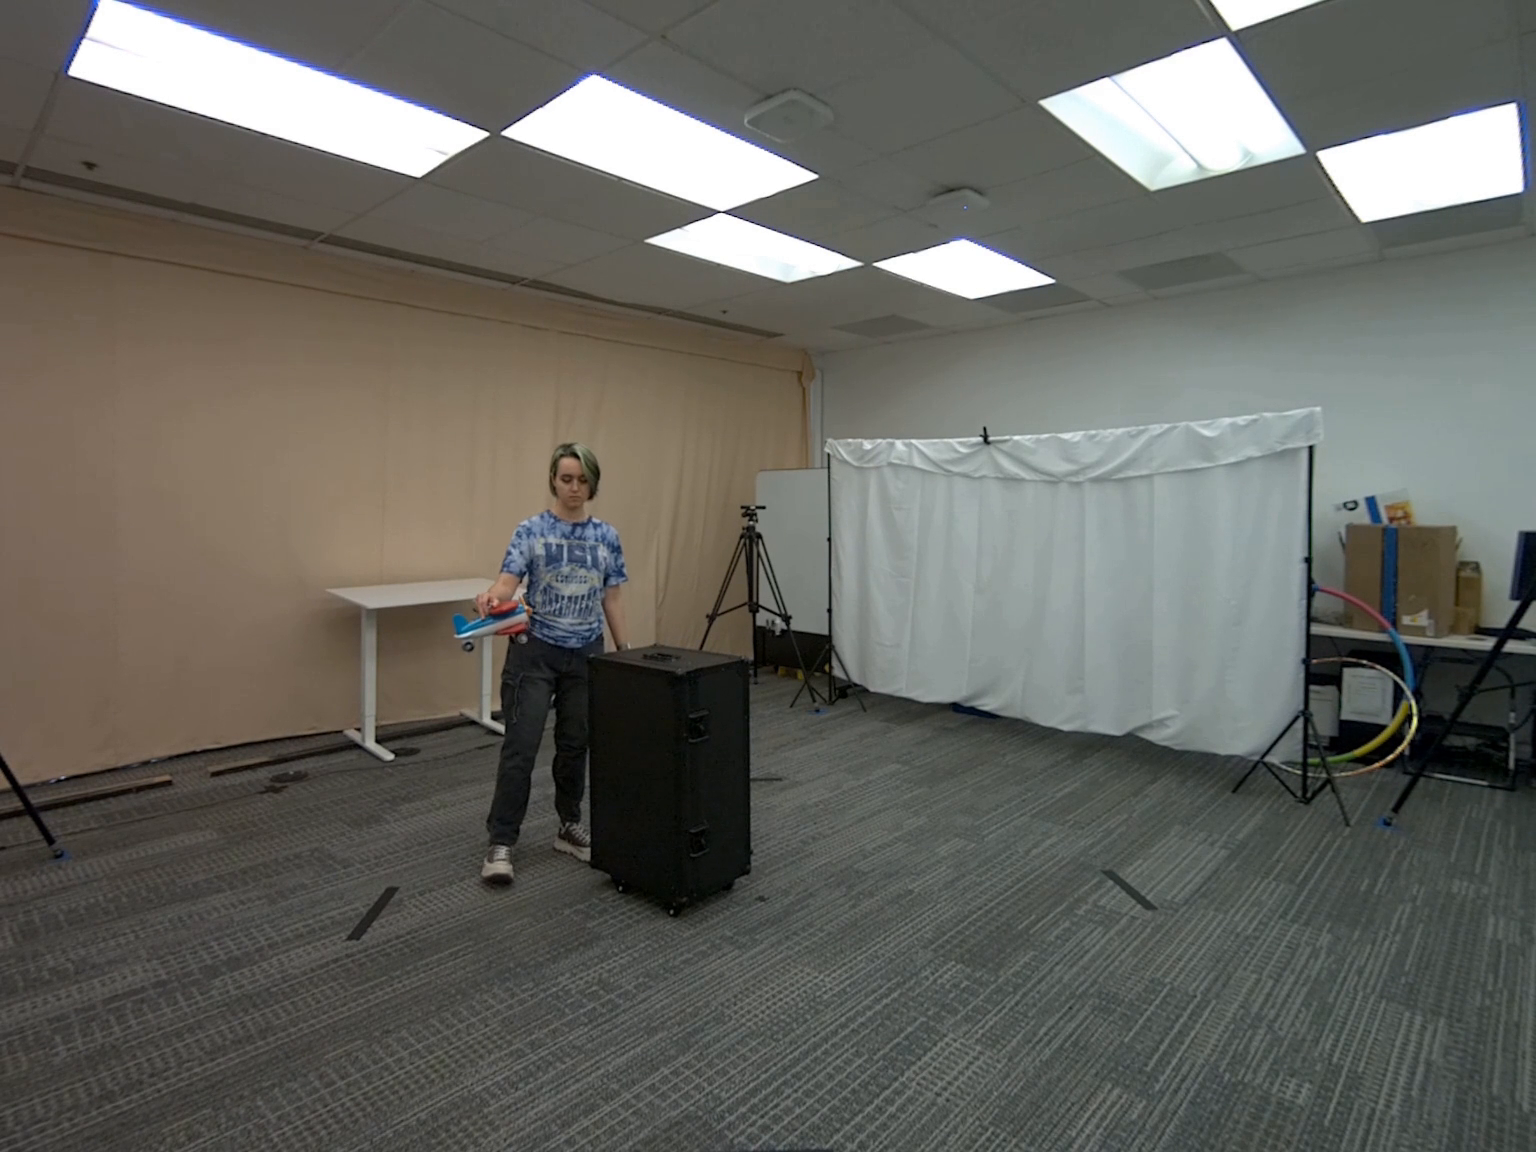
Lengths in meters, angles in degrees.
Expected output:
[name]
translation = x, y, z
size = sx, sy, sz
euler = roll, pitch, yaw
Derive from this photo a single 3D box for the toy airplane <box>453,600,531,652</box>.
[toy airplane]
translation = -0.914, 0.166, 2.851
size = 0.258, 0.156, 0.252
euler = -3, 0, 35
